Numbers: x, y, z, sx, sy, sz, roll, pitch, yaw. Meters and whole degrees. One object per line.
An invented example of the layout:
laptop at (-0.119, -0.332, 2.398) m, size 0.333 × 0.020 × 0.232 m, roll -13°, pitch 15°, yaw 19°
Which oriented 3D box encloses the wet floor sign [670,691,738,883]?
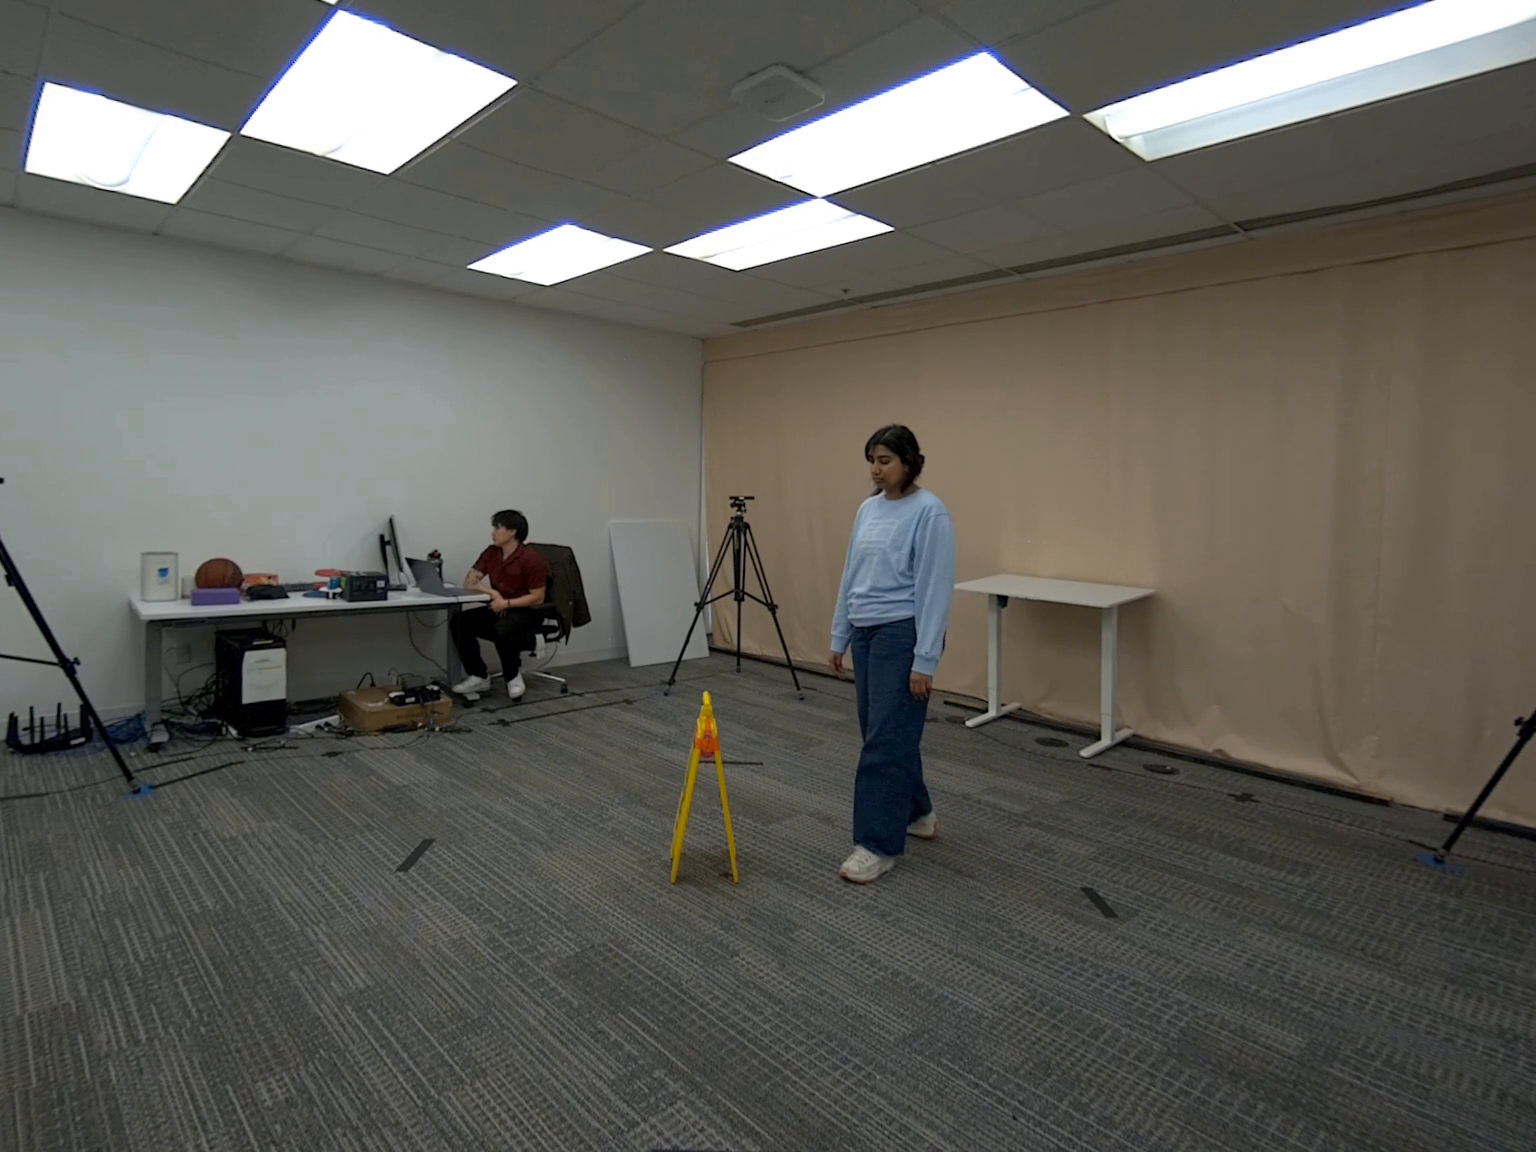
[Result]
wet floor sign at (-0.246, 0.776, 3.152) m, size 0.289 × 0.645 × 0.283 m, roll 0°, pitch 3°, yaw -4°
